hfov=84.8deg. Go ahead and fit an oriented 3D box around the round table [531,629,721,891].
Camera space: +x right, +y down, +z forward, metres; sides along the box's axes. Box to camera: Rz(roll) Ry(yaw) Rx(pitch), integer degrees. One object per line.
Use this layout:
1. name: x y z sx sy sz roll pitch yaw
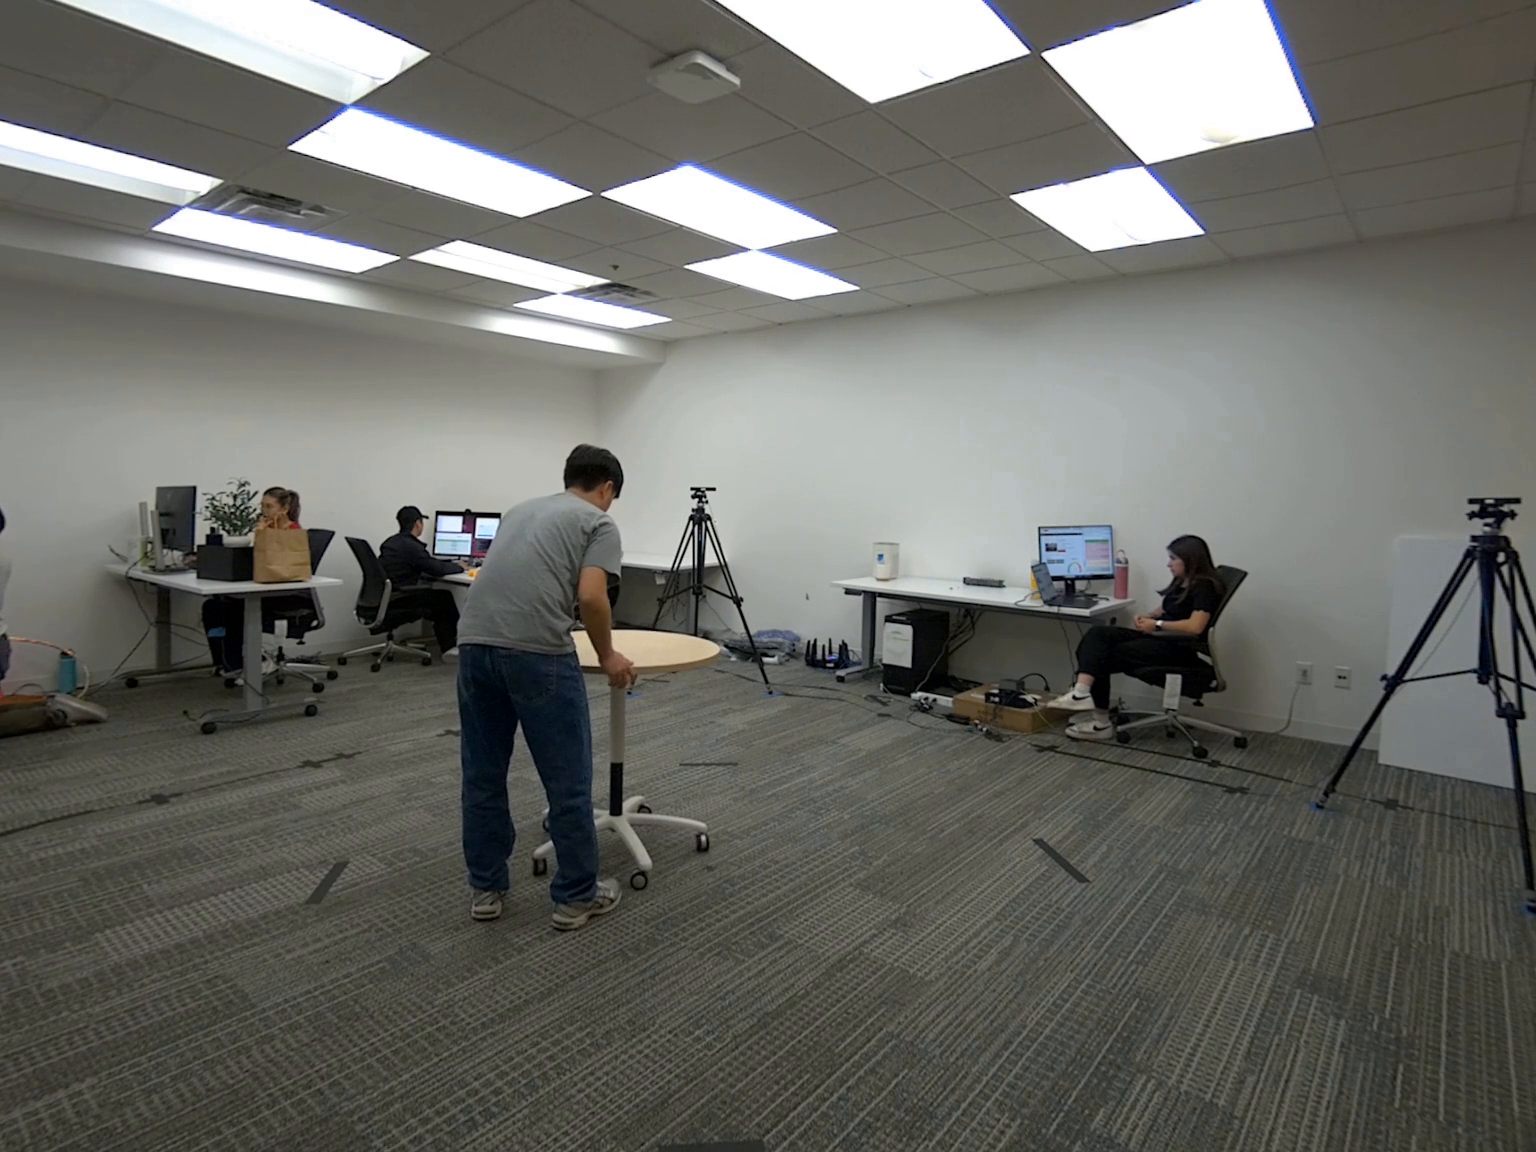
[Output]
1. round table: -0.575 0.657 3.230 0.763 0.792 0.767 1 4 -2
